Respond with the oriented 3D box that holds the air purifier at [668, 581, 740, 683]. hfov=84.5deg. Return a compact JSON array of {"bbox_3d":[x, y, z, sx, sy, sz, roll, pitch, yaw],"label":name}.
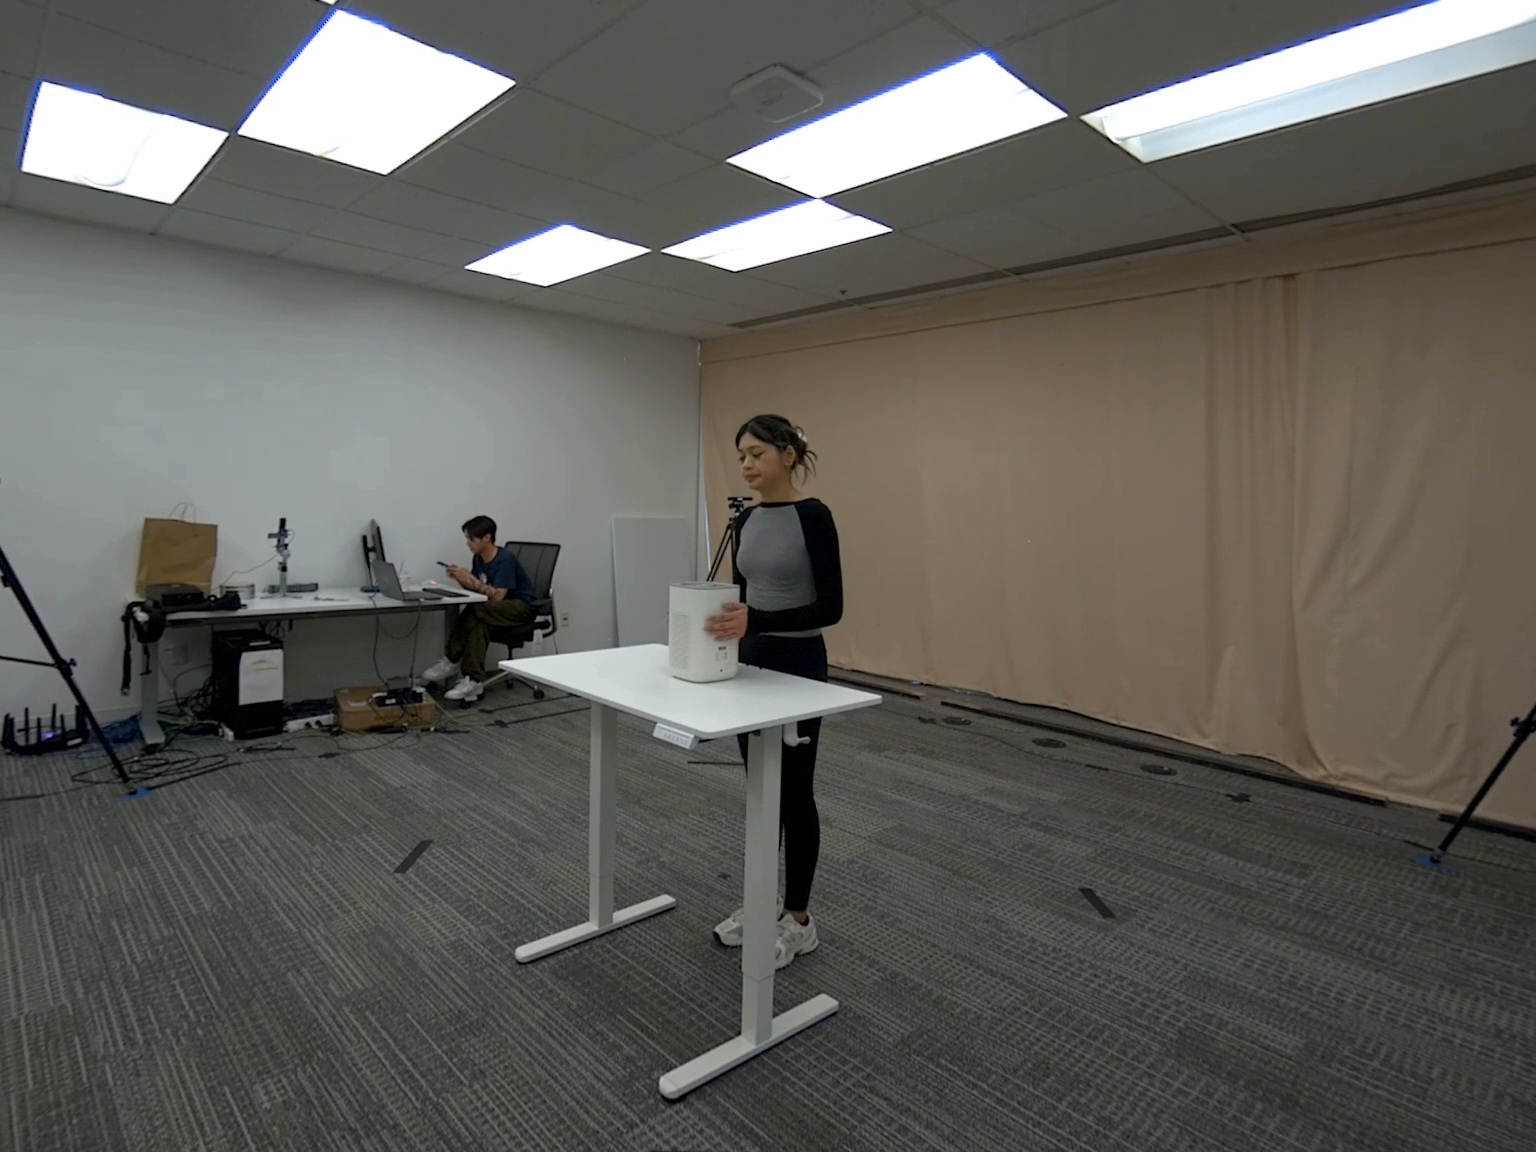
[{"bbox_3d":[-0.189,0.157,2.386,0.167,0.265,0.176,-1,3,-42],"label":"air purifier"}]
